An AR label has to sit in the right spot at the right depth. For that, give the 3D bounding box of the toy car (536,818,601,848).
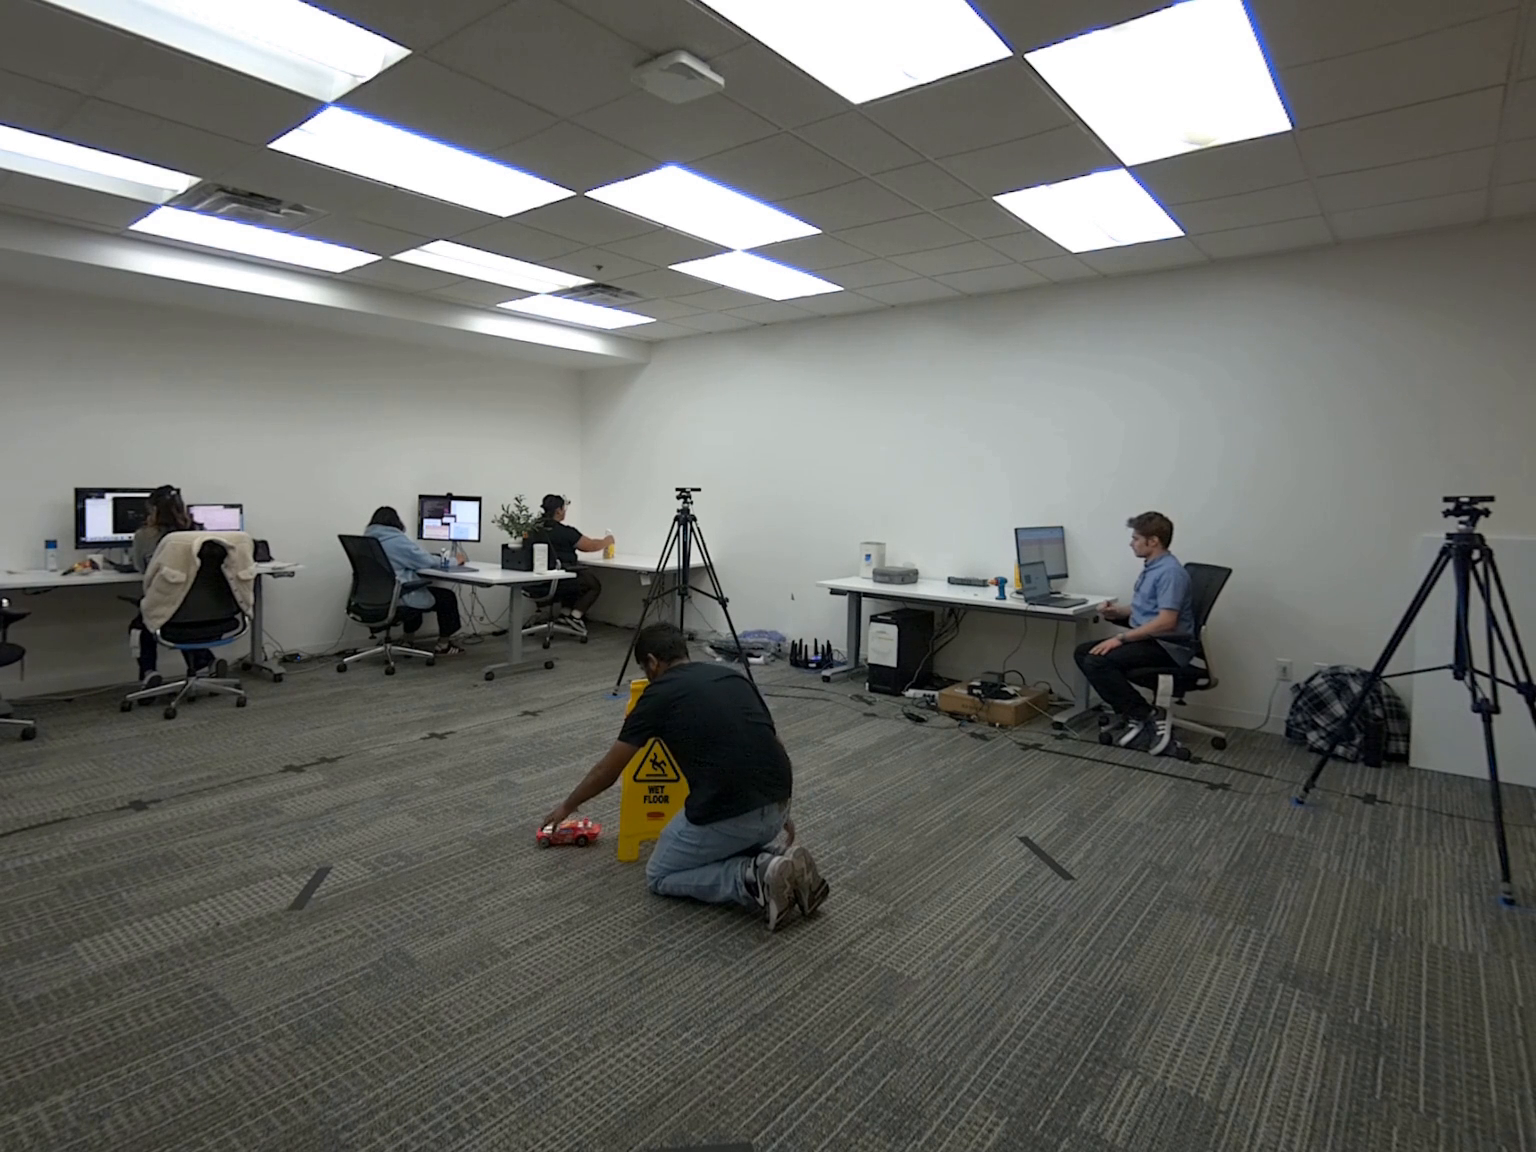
[{"bbox_3d":[-0.774,1.007,3.331,0.254,0.083,0.131,-11,6,-4],"label":"toy car"}]
